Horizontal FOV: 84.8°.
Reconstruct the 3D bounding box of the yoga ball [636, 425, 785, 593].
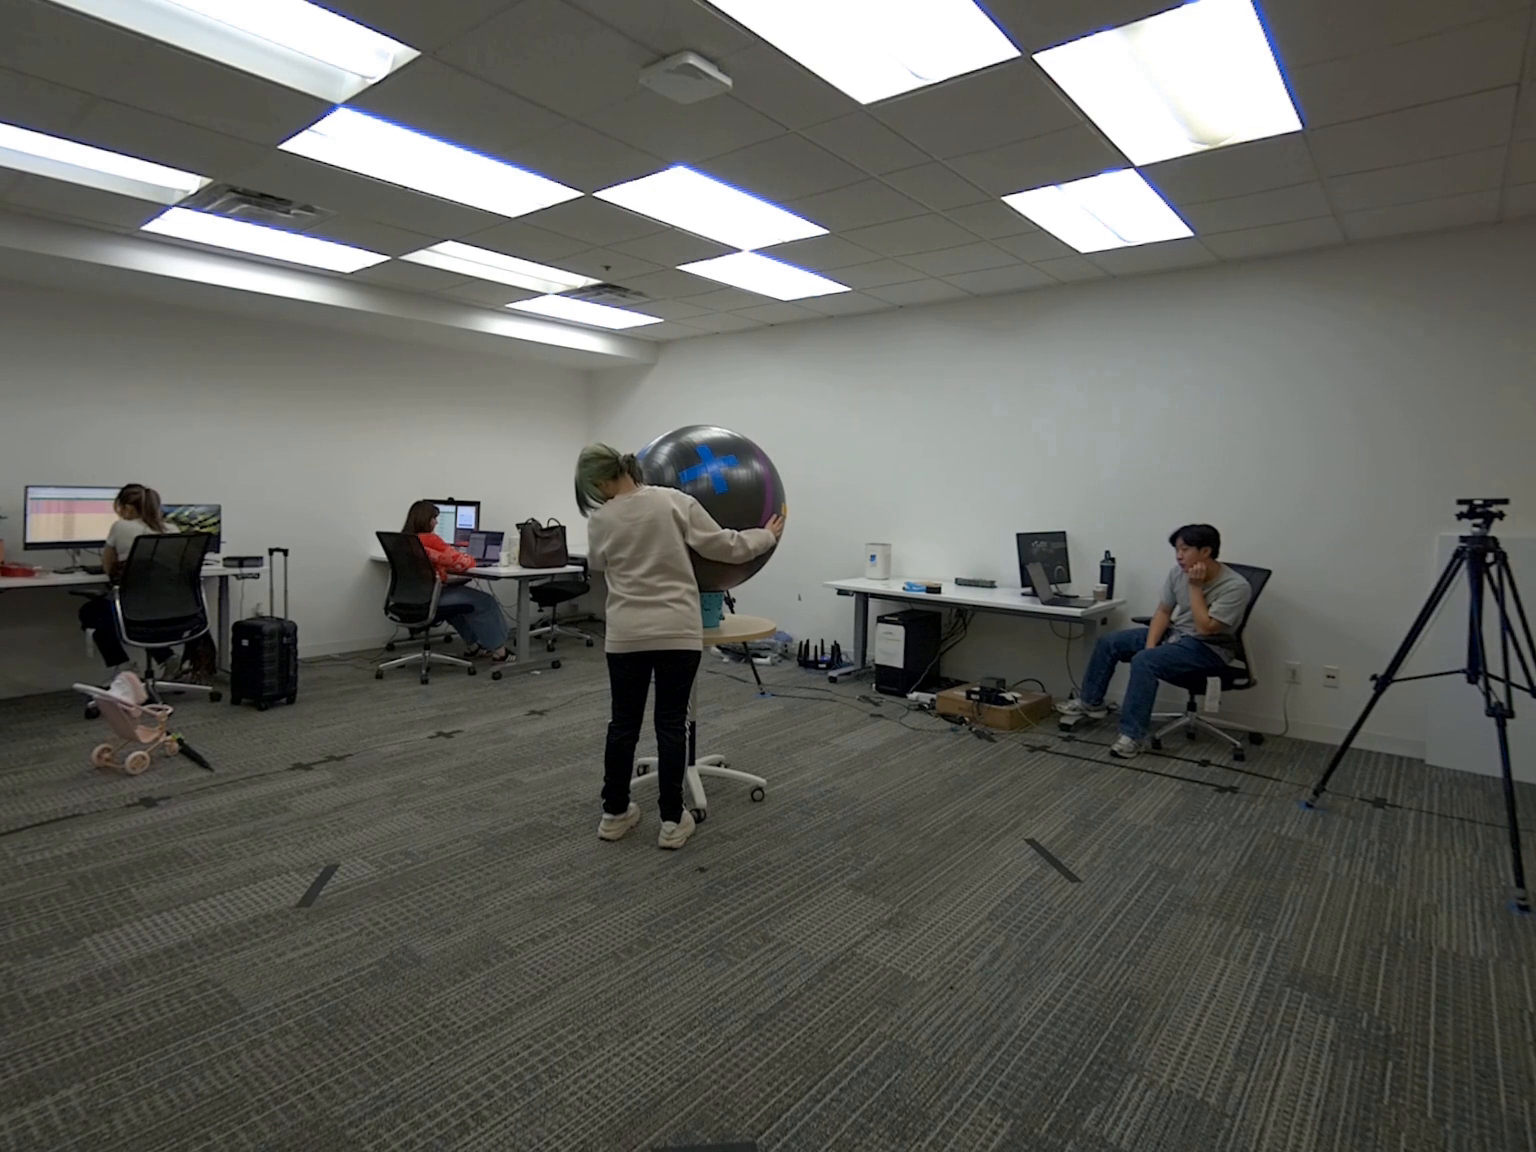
[{"bbox_3d":[-0.302,-0.298,3.820,0.757,0.756,0.762,1,4,-2],"label":"yoga ball"}]
